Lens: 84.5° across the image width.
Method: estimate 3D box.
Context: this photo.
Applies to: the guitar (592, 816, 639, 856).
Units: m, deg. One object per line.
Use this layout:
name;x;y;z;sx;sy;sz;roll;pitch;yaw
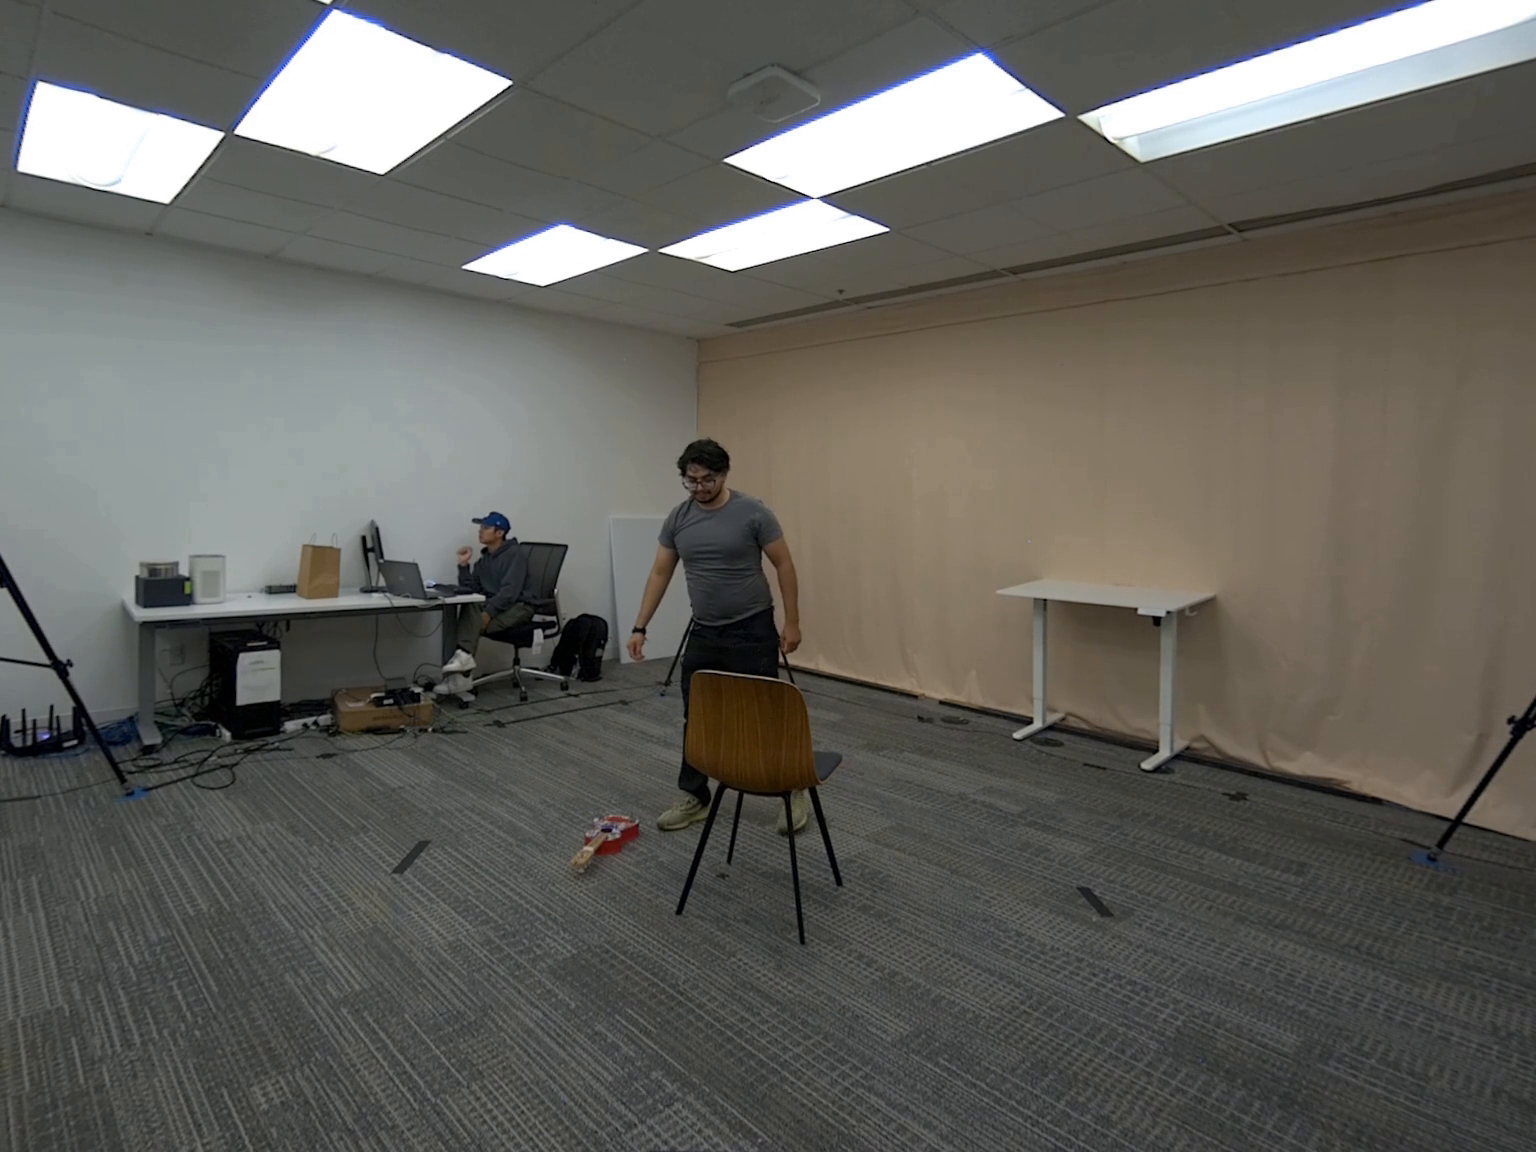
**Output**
guitar;-0.688;1.045;3.291;0.196;0.070;0.492;3;5;18
